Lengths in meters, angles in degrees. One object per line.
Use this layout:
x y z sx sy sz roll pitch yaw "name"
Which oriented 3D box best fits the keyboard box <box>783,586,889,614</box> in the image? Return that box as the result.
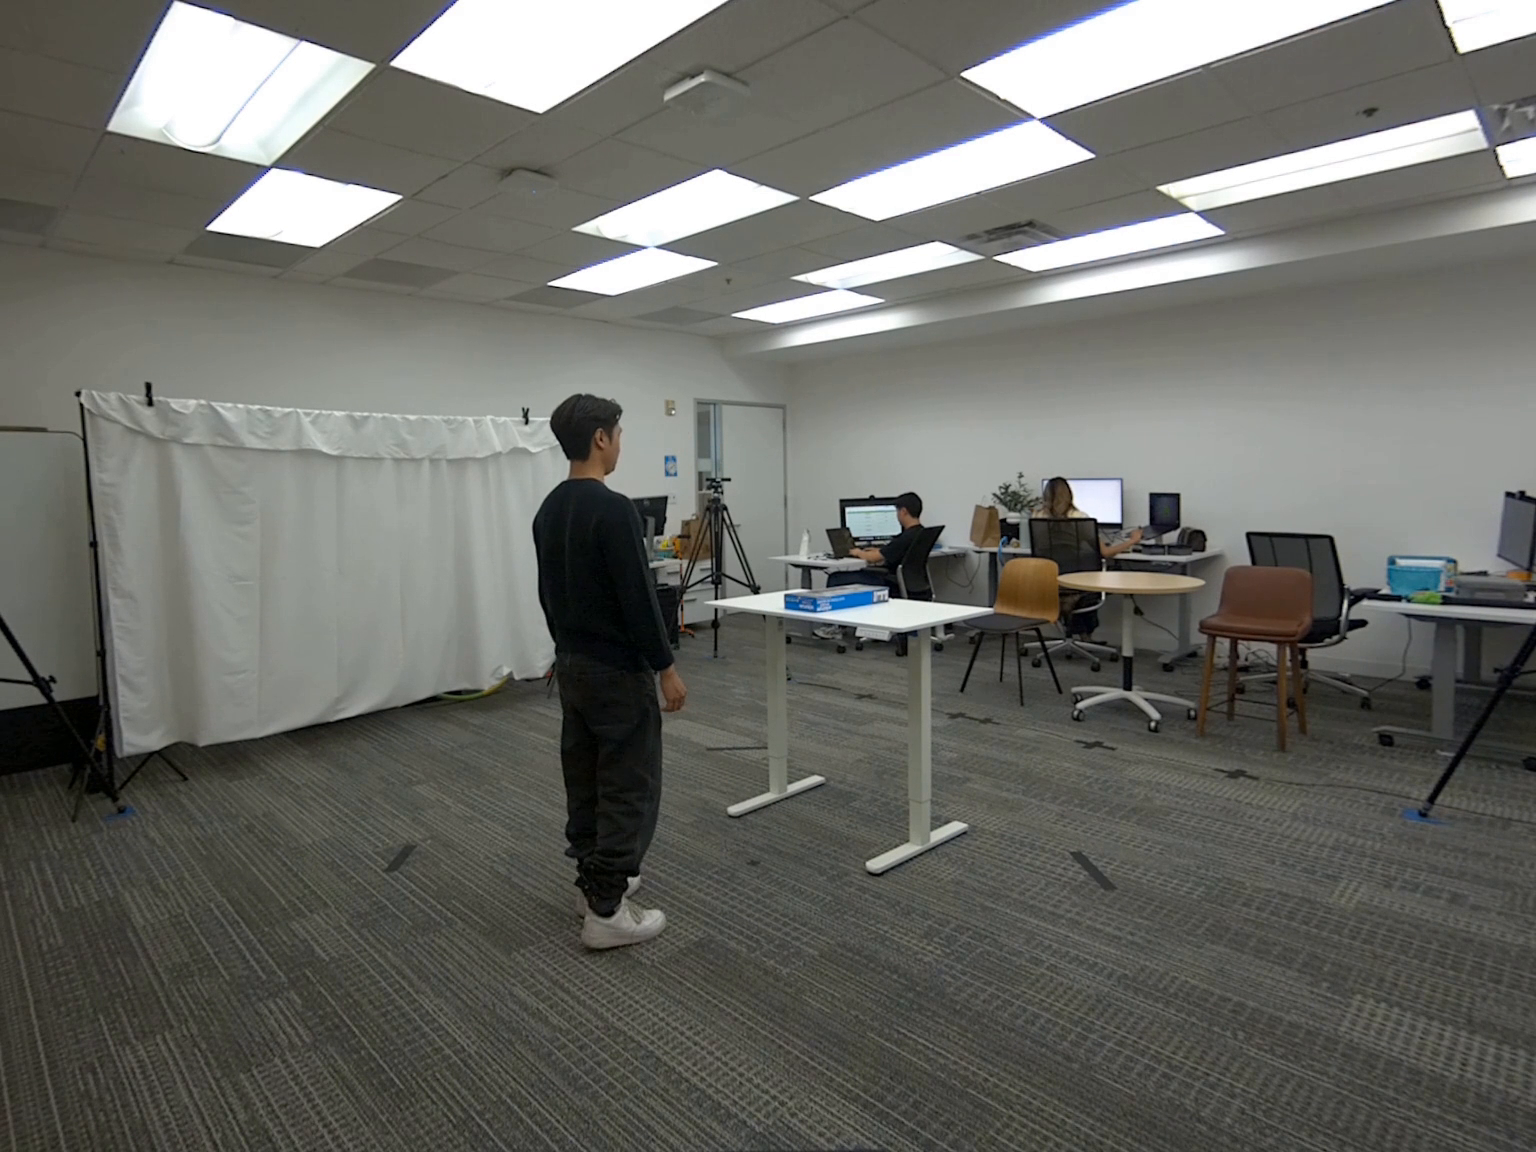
0.284 0.088 3.423 0.425 0.059 0.181 -6 8 -41 "keyboard box"
